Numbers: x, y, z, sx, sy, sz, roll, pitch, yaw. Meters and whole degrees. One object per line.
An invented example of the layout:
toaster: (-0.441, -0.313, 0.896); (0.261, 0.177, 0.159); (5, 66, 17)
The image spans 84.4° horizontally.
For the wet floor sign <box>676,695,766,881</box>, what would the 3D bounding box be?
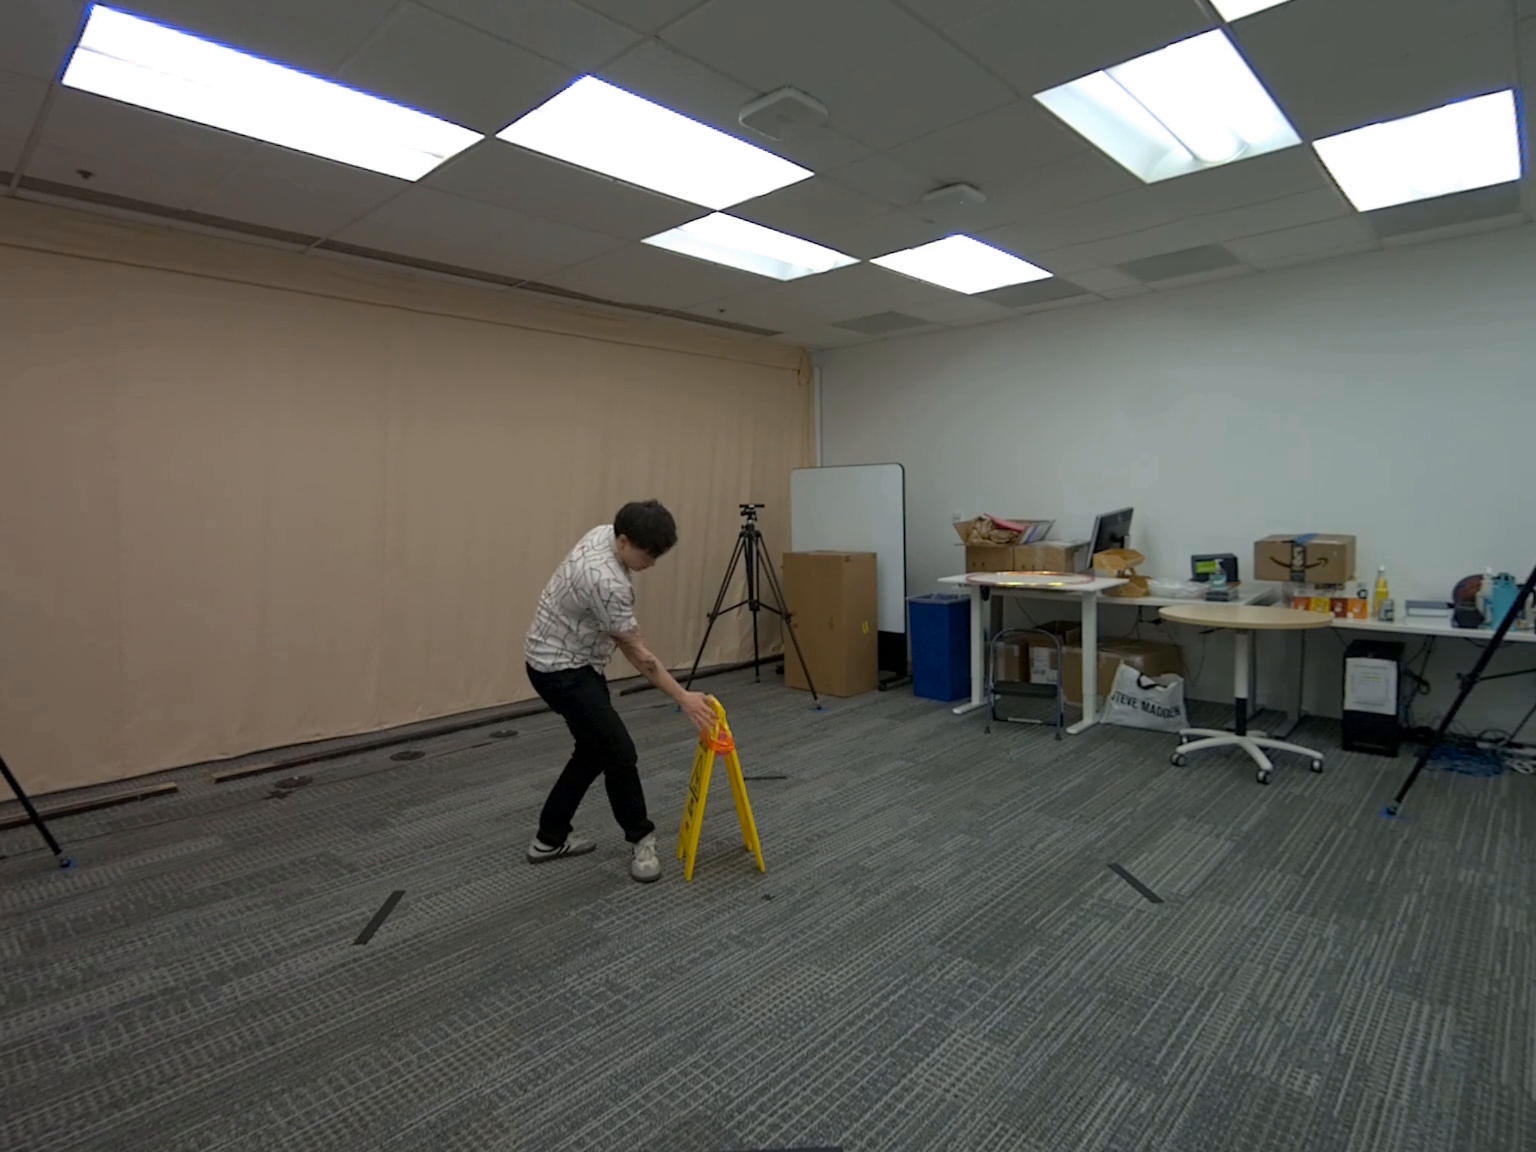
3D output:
wet floor sign: (-0.192, 0.794, 3.258); (0.286, 0.645, 0.287); (-2, 2, -14)
